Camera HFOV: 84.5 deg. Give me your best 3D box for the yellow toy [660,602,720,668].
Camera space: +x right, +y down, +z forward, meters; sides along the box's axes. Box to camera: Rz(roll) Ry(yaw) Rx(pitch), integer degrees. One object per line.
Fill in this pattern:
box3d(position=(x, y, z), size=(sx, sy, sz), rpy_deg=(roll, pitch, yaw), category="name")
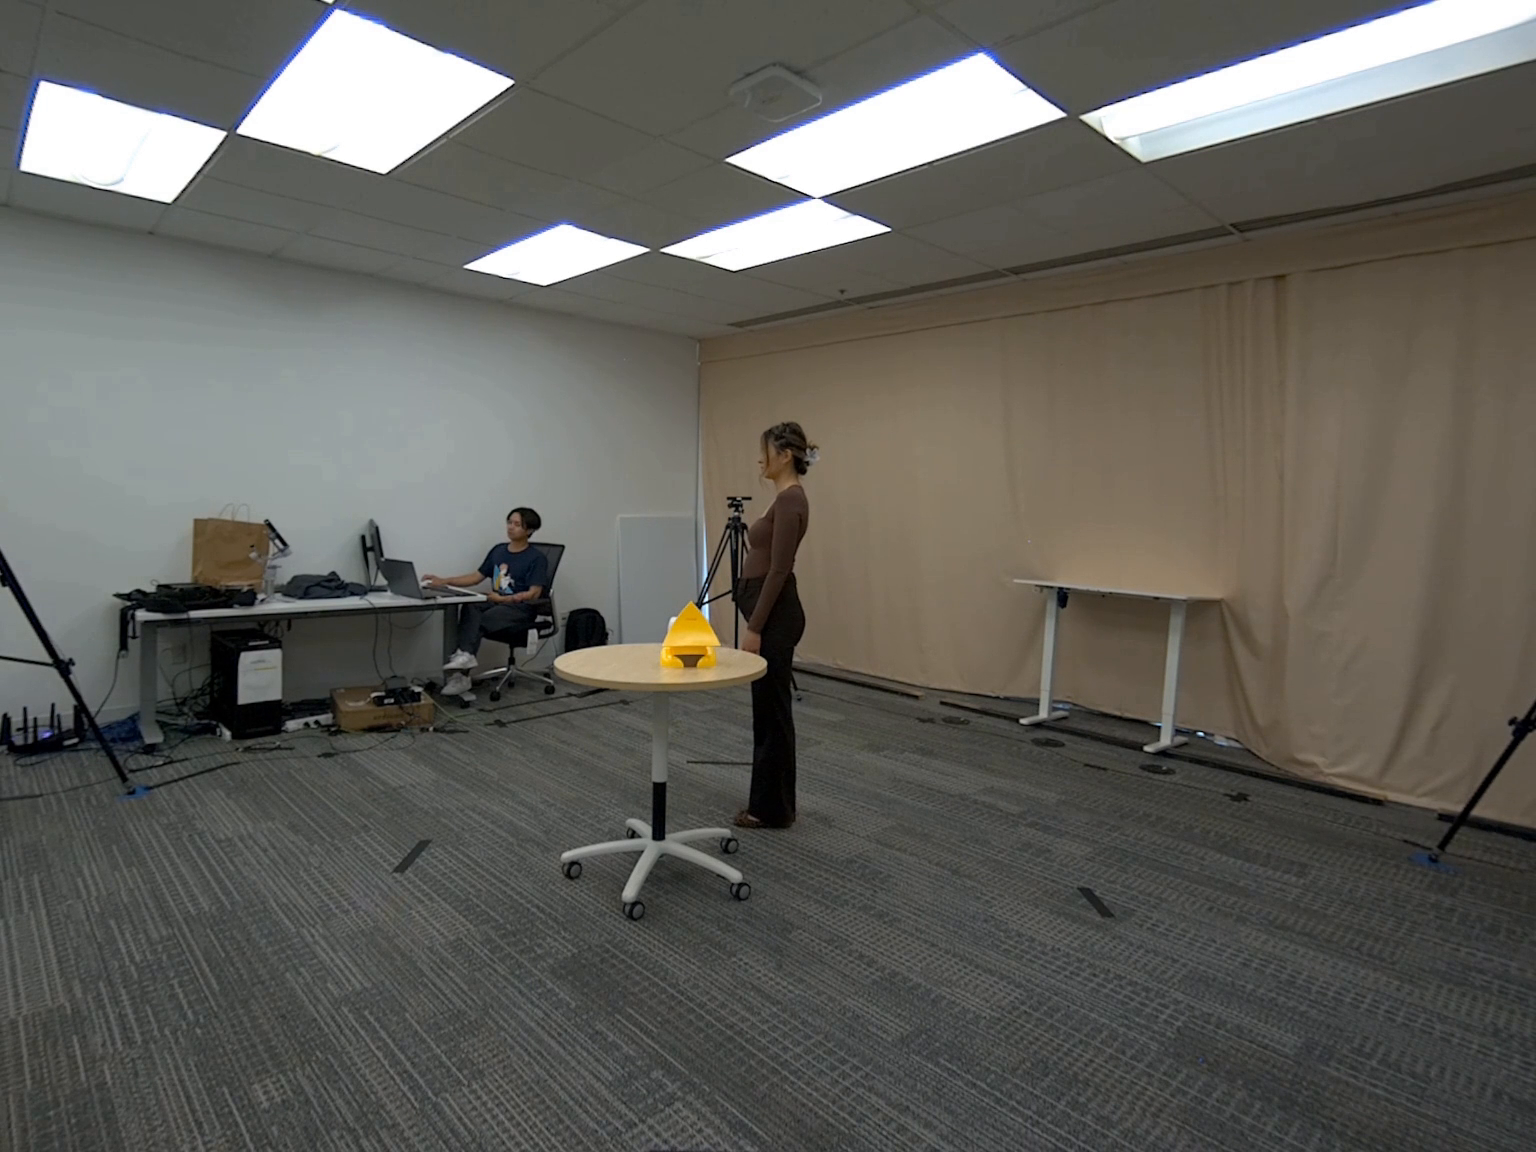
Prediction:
box3d(position=(-0.293, 0.199, 2.997), size=(0.203, 0.230, 0.195), rpy_deg=(0, 4, -12), category="yellow toy")
